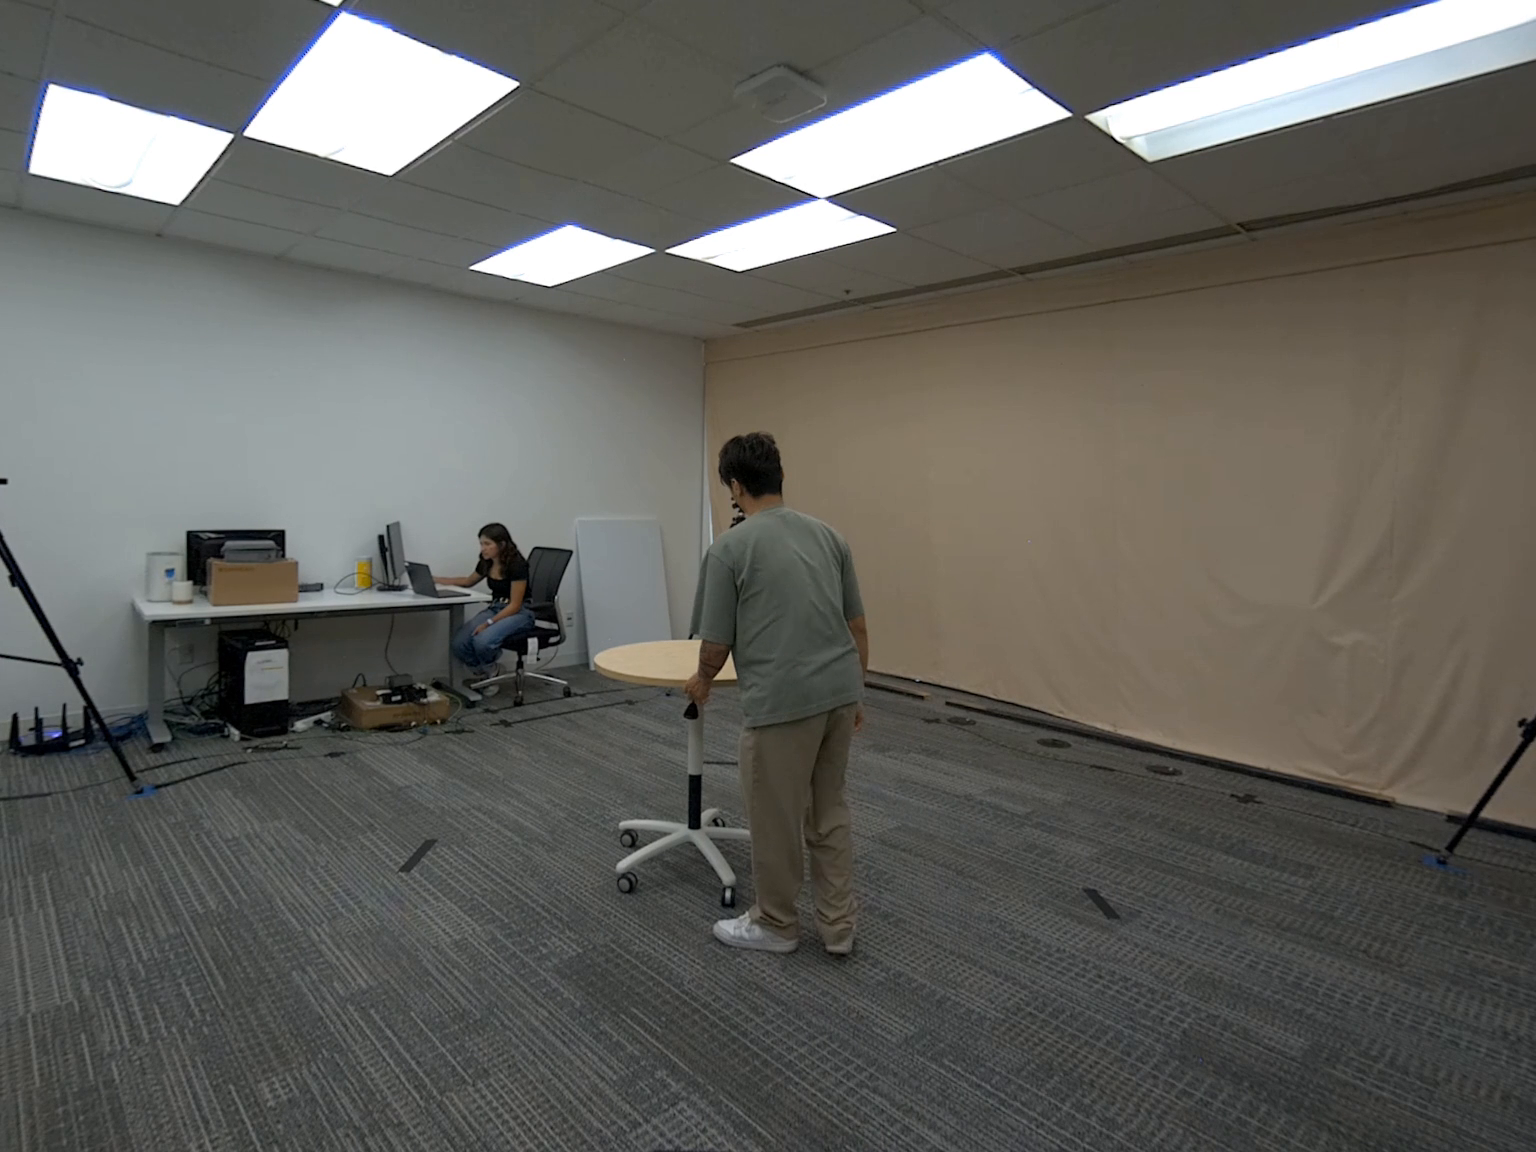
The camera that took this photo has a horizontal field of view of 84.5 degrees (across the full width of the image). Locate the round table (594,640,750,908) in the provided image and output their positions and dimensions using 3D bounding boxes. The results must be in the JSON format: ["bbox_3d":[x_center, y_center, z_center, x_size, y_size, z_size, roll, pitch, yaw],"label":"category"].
[{"bbox_3d":[-0.297,0.700,3.172,0.784,0.784,0.787,1,4,-1],"label":"round table"}]
